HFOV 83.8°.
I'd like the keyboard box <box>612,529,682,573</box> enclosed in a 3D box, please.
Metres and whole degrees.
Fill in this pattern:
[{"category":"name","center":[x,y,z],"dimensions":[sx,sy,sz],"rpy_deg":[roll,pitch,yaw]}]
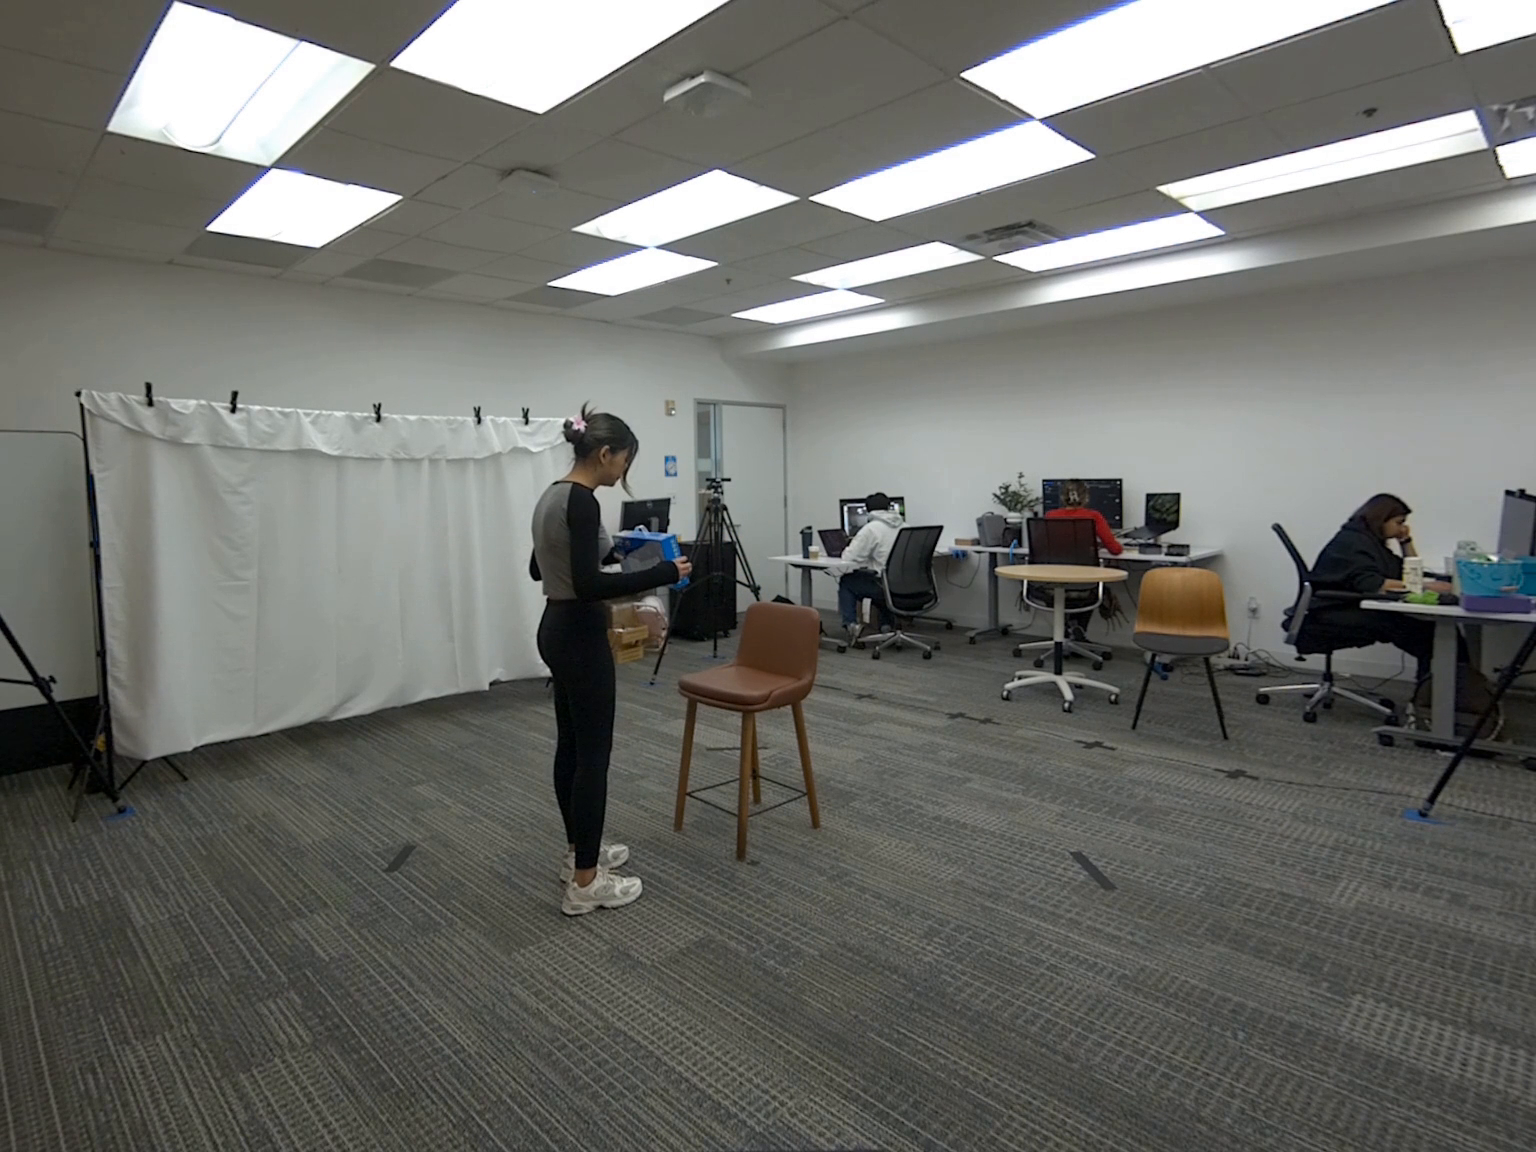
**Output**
[{"category":"keyboard box","center":[-0.423,-0.063,3.016],"dimensions":[0.058,0.174,0.449],"rpy_deg":[-21,14,-28]}]
